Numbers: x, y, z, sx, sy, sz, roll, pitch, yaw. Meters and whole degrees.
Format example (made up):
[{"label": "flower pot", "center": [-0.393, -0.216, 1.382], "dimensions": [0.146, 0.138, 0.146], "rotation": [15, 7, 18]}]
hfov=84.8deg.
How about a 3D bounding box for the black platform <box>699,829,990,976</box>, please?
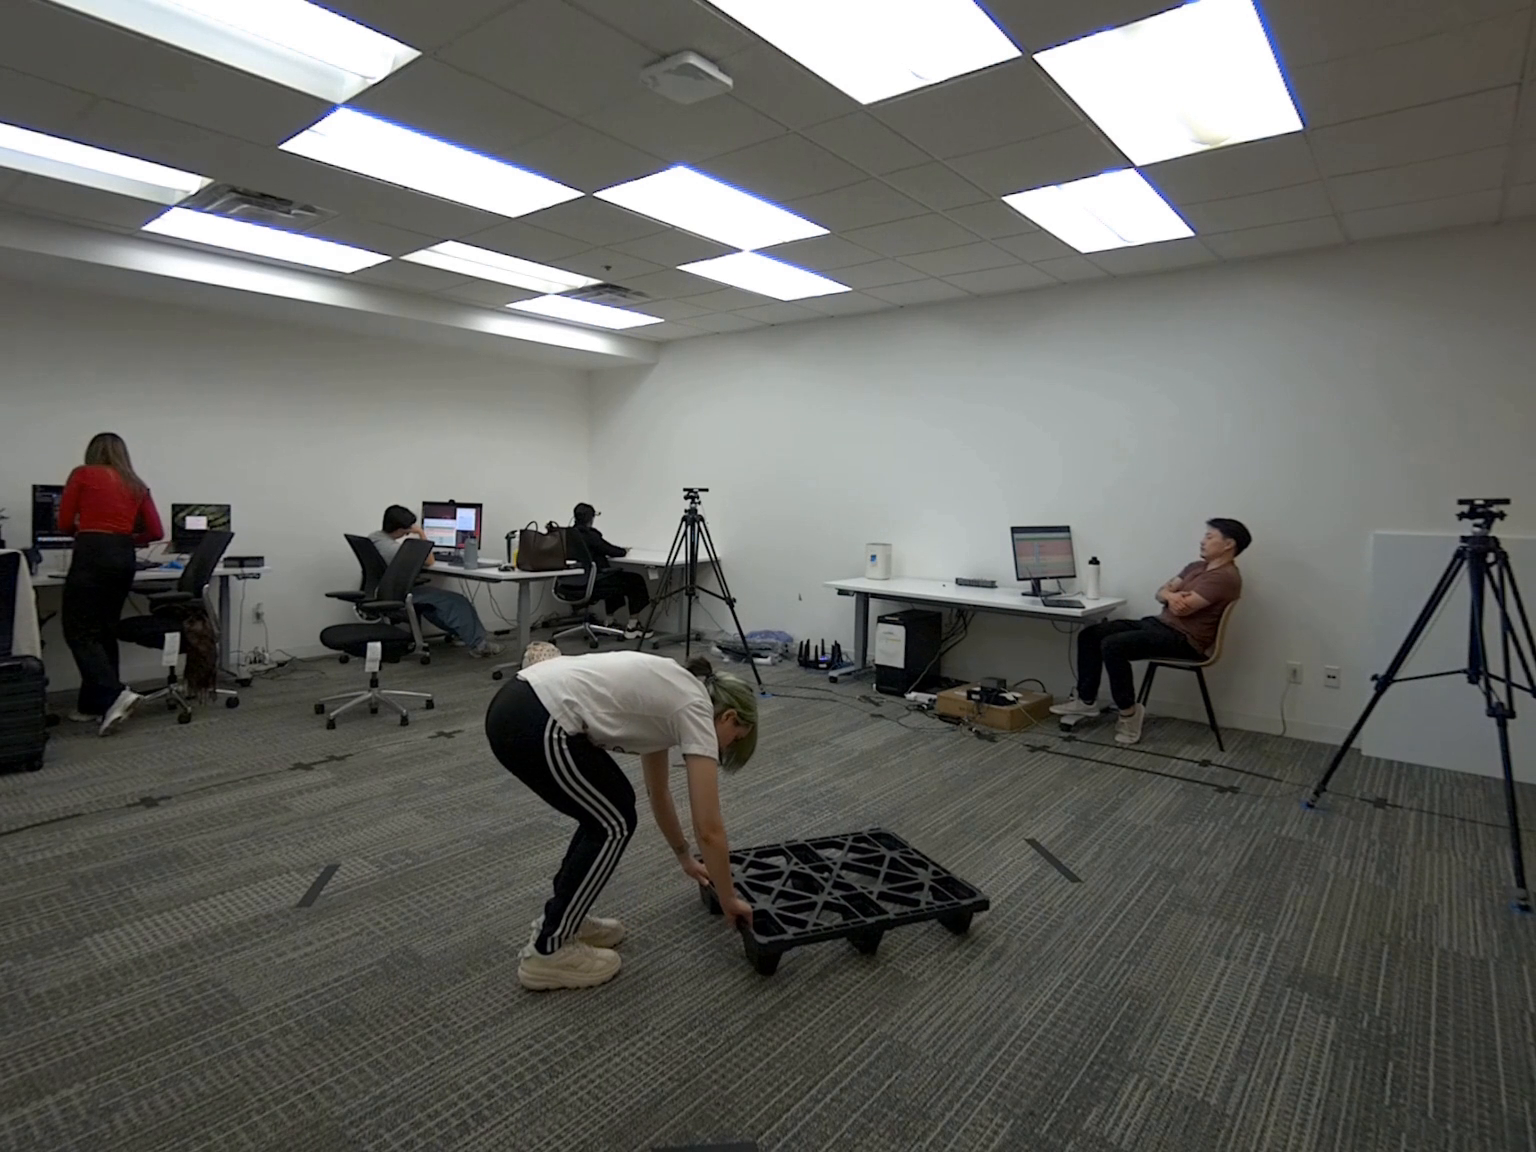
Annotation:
[{"label": "black platform", "center": [0.202, 1.043, 2.777], "dimensions": [0.788, 0.143, 0.621], "rotation": [-1, 7, -23]}]
